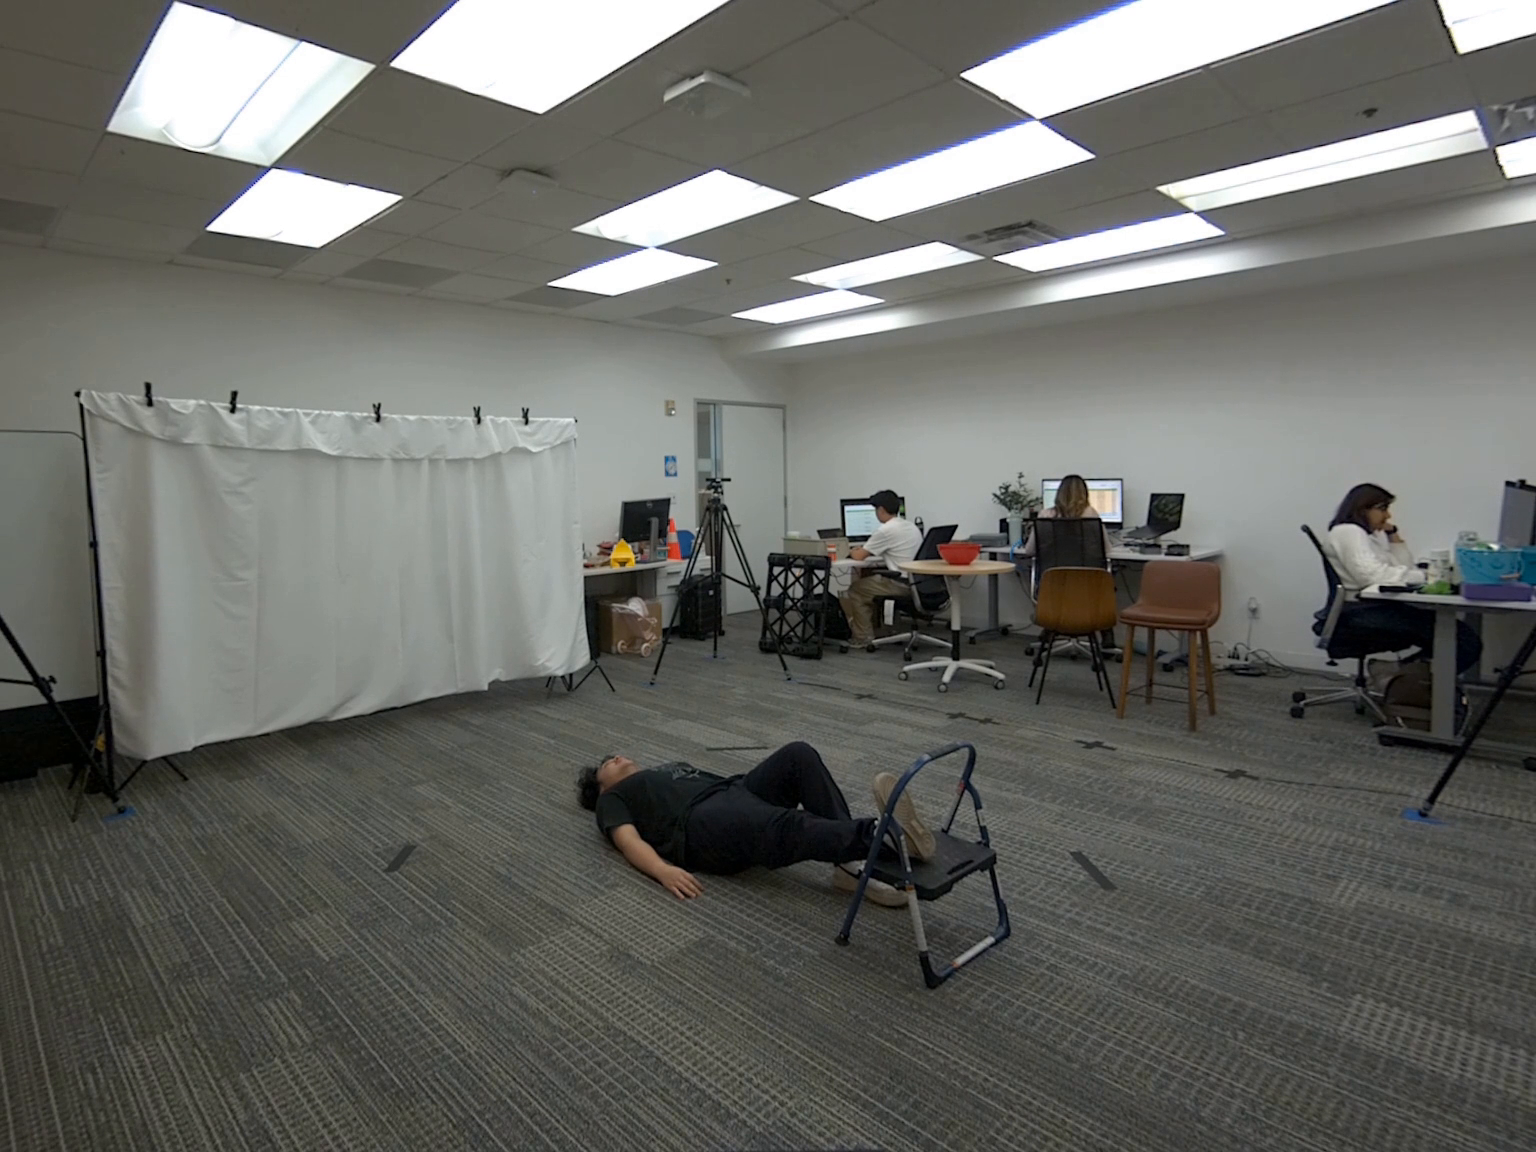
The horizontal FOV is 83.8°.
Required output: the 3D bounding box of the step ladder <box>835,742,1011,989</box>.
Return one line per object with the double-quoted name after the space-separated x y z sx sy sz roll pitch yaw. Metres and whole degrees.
0.475 0.799 2.556 0.419 0.603 0.360 -6 6 -44 "step ladder"
